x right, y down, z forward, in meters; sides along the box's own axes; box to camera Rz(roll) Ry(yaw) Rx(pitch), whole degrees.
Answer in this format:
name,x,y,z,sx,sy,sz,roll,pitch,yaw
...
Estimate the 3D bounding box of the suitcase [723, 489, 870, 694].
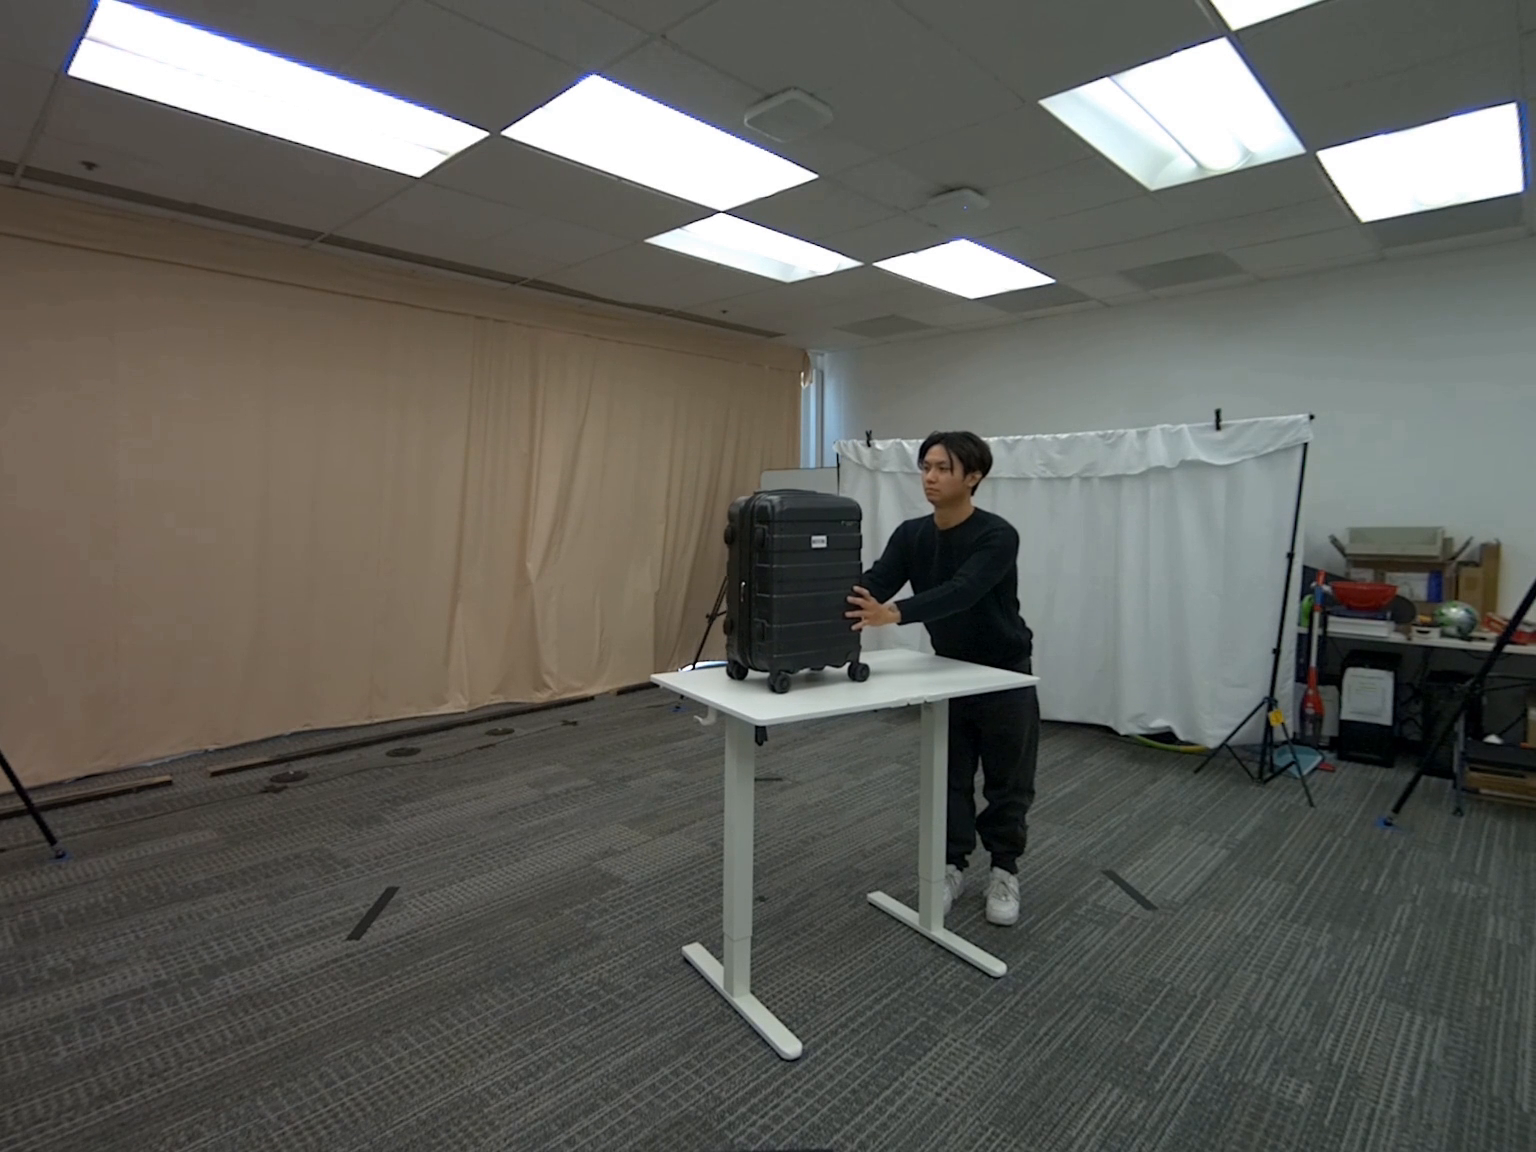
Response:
name,x,y,z,sx,sy,sz,roll,pitch,yaw
suitcase,0.078,0.028,2.425,0.364,0.548,0.256,-1,4,-34
